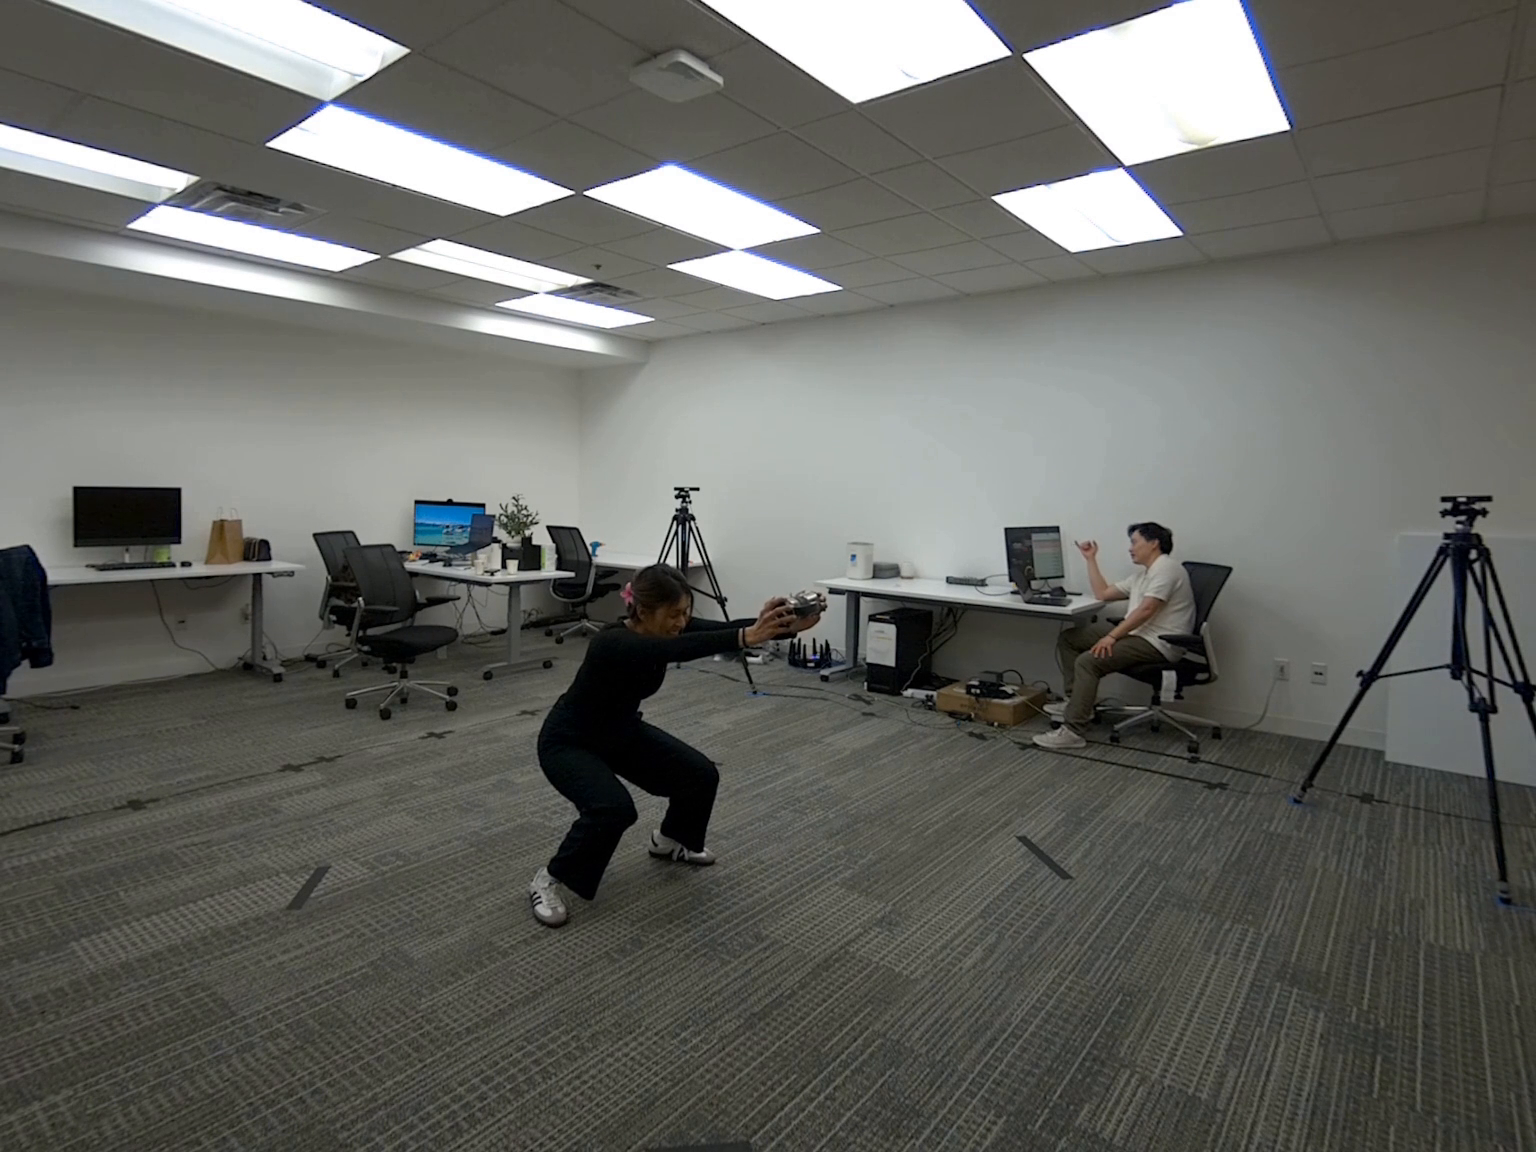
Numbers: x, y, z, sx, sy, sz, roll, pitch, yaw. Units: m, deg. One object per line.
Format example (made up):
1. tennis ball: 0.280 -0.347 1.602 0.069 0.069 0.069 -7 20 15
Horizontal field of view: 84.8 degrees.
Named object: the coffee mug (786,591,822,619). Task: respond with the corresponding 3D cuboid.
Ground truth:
1. coffee mug: 0.073 0.103 2.449 0.126 0.087 0.197 15 14 39
